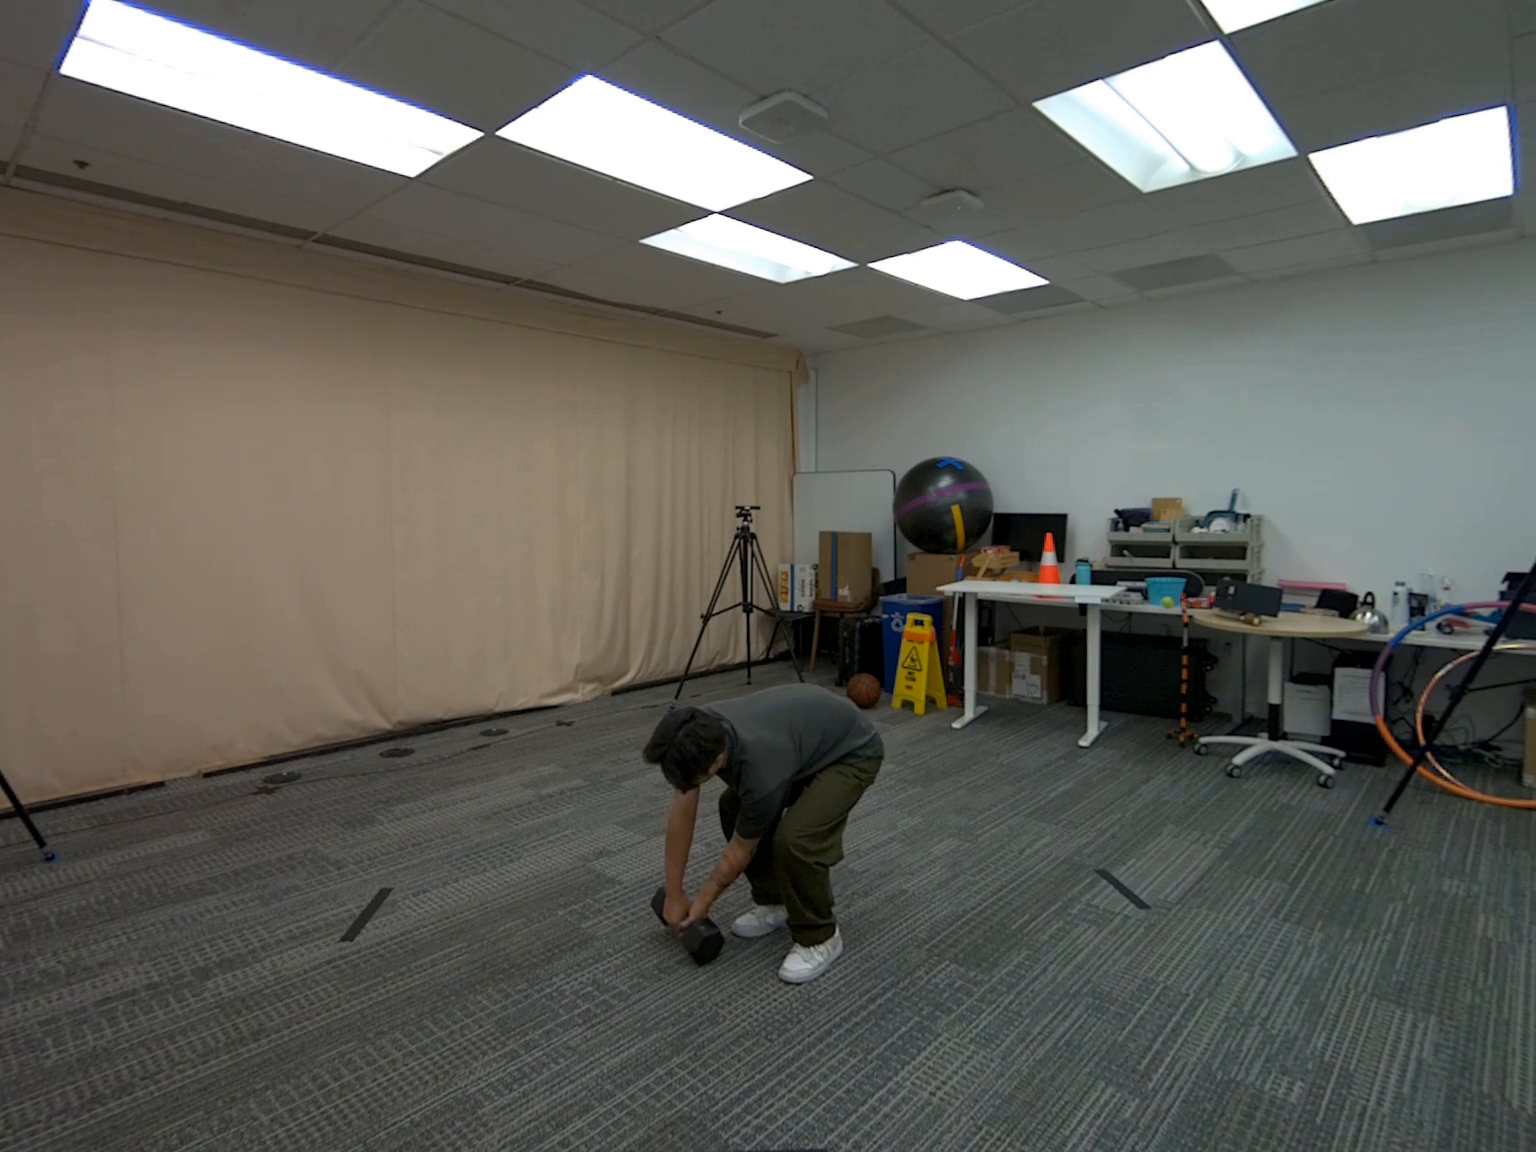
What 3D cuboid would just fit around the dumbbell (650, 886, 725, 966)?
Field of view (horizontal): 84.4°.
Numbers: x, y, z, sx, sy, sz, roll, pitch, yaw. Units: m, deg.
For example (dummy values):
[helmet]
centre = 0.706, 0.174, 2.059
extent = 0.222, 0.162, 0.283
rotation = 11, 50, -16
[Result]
[dumbbell]
centre = -0.250, 1.091, 2.654
extent = 0.107, 0.120, 0.304
rotation = -34, 27, -25
